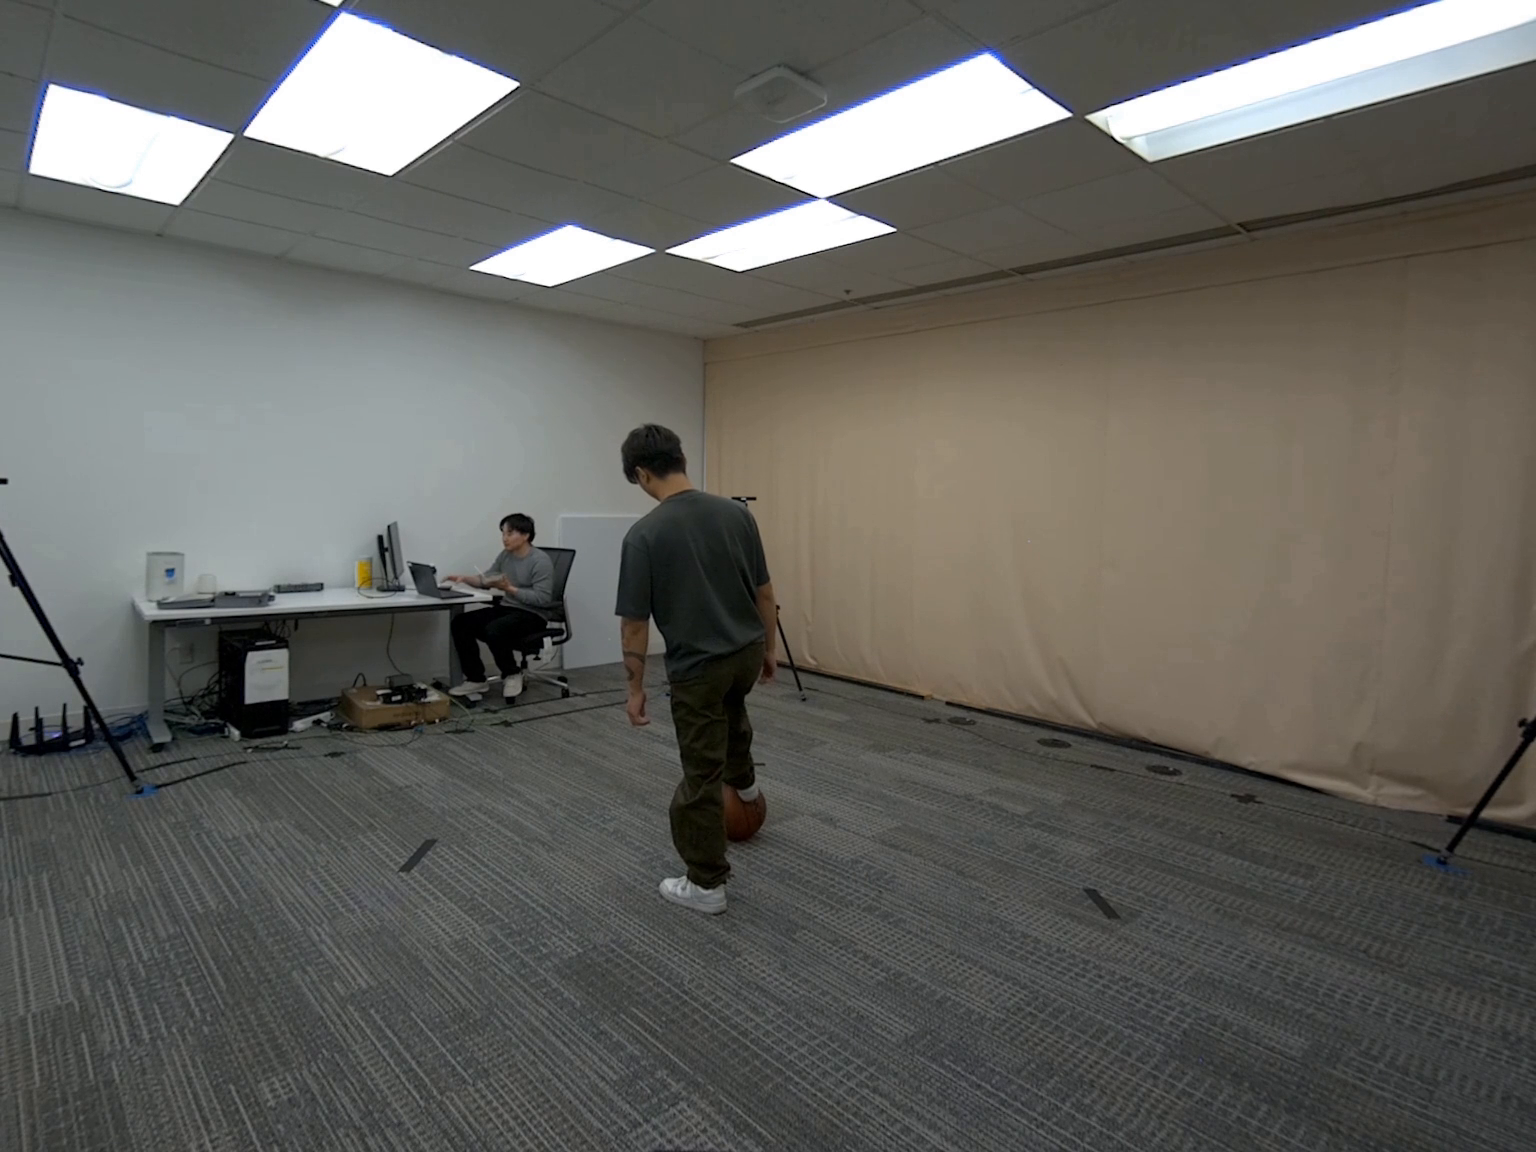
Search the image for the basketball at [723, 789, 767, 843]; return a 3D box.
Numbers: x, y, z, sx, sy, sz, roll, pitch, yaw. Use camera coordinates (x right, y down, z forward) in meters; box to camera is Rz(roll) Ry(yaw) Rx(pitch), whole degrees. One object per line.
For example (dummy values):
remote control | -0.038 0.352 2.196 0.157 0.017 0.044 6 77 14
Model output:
basketball | -0.135 0.959 3.462 0.236 0.235 0.237 1 4 -1
